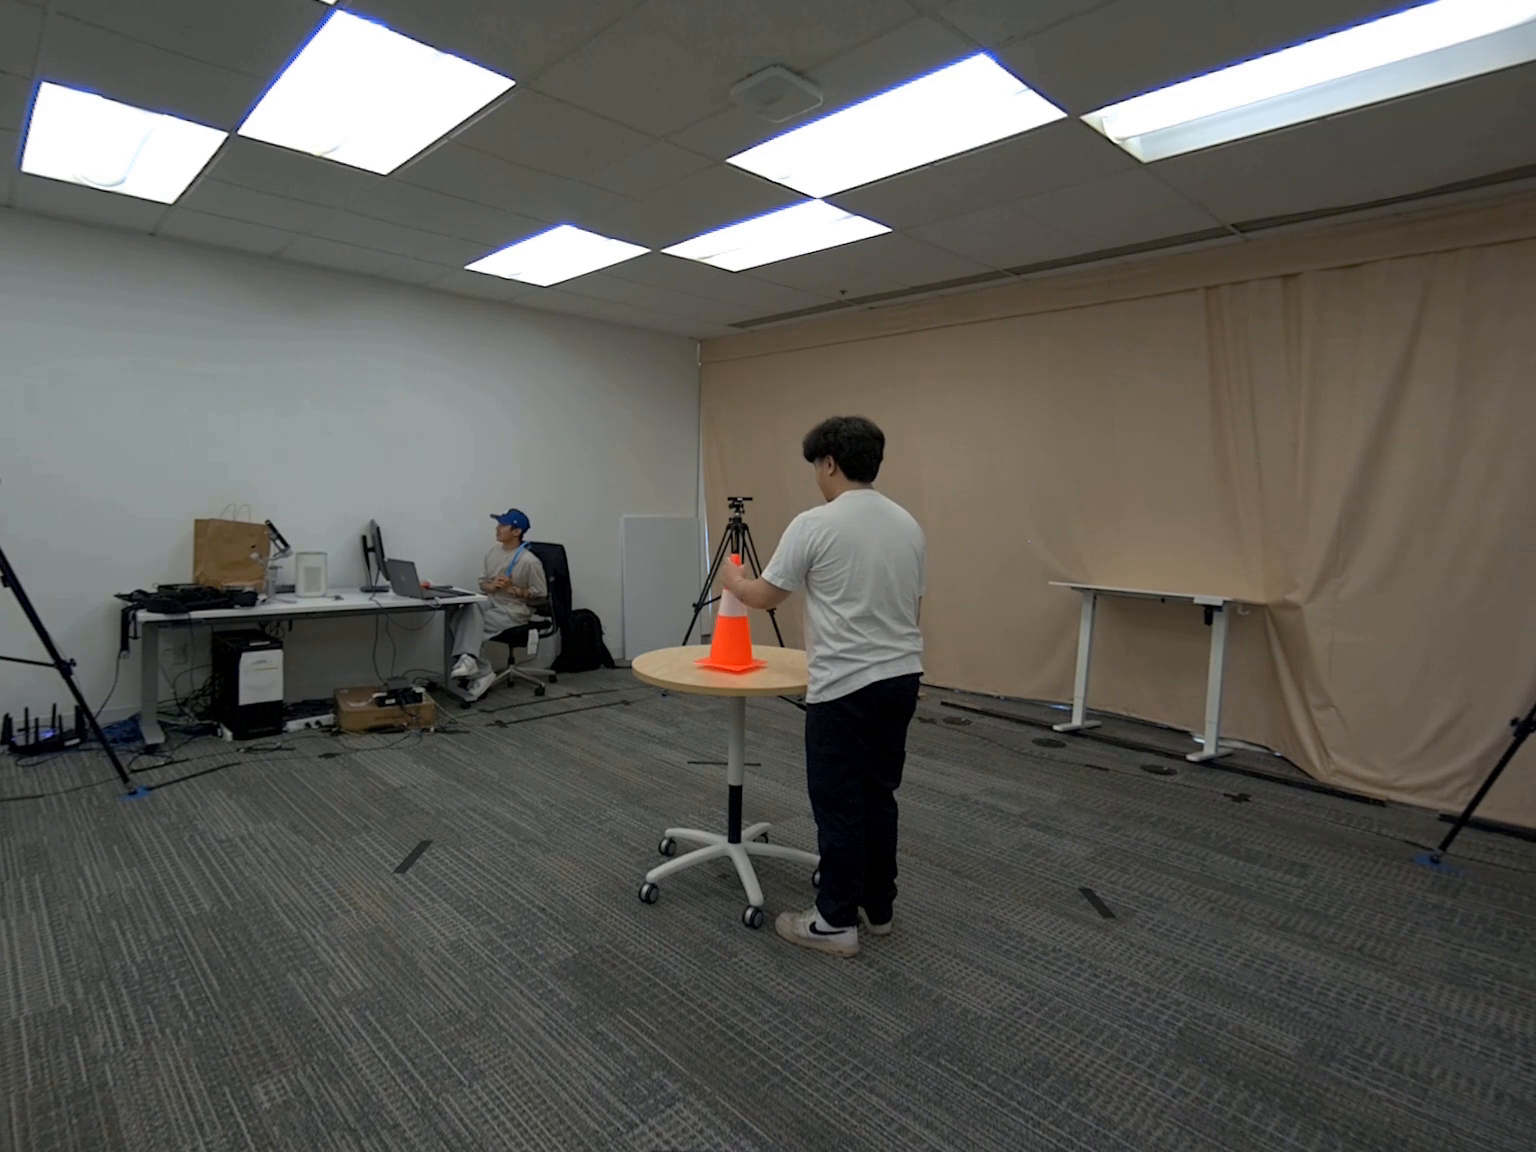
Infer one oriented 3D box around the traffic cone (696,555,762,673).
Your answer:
[{"bbox_3d":[-0.120,0.119,2.953,0.208,0.382,0.201,6,5,34],"label":"traffic cone"}]
